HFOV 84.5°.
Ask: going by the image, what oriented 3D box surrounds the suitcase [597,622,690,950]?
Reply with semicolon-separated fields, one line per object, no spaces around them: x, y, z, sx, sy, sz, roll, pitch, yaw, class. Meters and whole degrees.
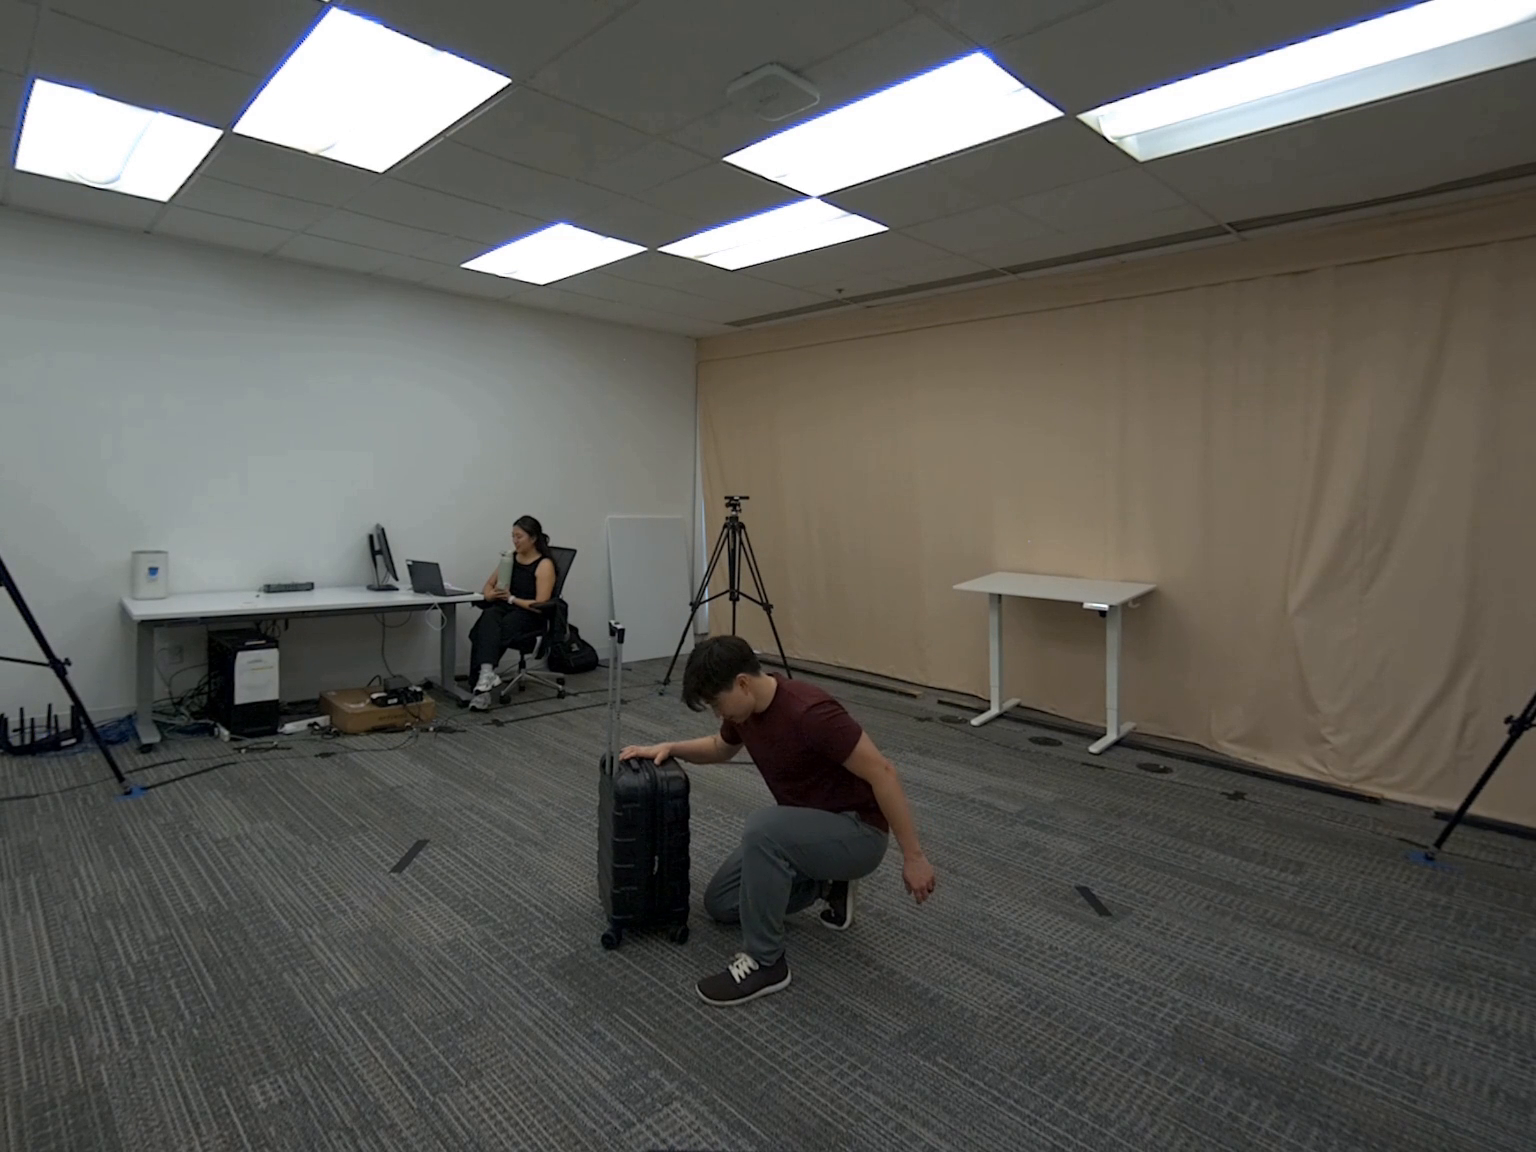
-0.405;0.652;2.732;0.254;0.975;0.389;1;4;-15;suitcase
